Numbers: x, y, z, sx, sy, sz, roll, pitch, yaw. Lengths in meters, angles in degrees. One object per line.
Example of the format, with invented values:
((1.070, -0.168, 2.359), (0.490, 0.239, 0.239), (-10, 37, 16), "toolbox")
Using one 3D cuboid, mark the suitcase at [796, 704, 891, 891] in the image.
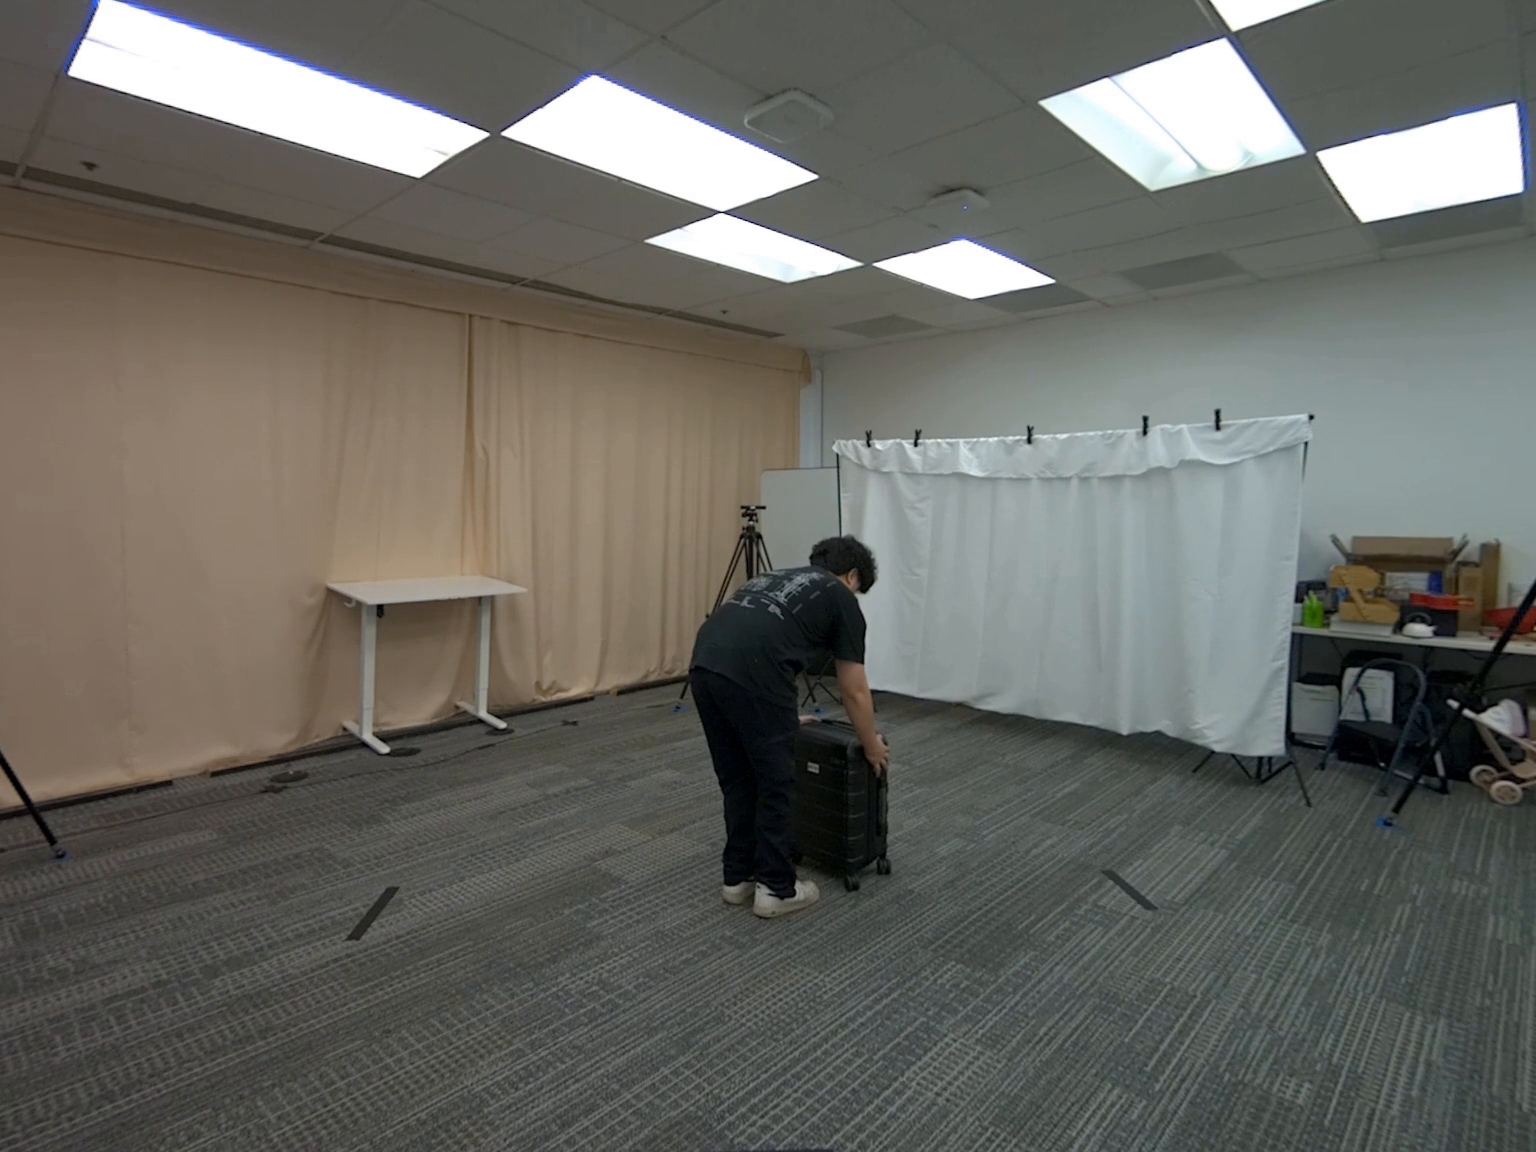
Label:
((0.271, 0.845, 3.231), (0.240, 0.548, 0.388), (-2, 3, -44), "suitcase")
